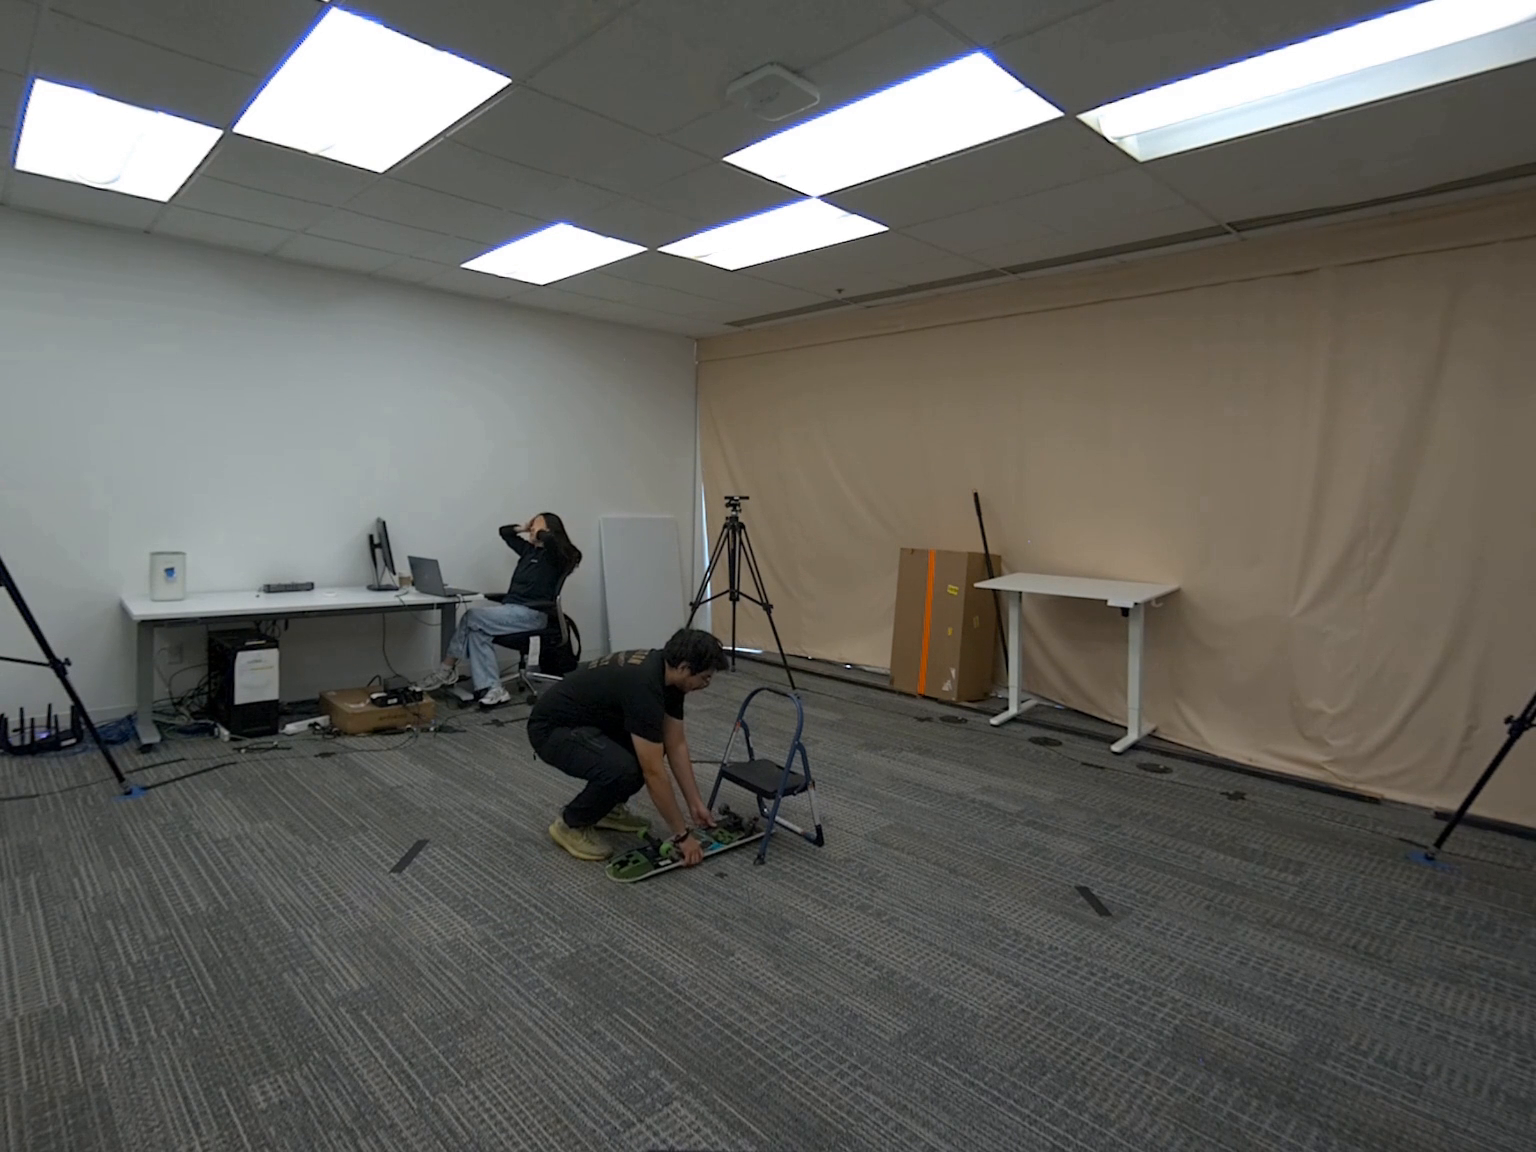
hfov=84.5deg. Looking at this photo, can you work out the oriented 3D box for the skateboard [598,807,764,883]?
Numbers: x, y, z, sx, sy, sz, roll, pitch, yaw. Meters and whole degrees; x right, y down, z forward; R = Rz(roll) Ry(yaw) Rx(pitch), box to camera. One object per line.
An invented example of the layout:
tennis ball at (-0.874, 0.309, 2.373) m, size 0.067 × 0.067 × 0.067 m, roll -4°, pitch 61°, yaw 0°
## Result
skateboard at (-0.285, 1.025, 3.291) m, size 0.768 × 0.110 × 0.198 m, roll -4°, pitch 8°, yaw -41°
